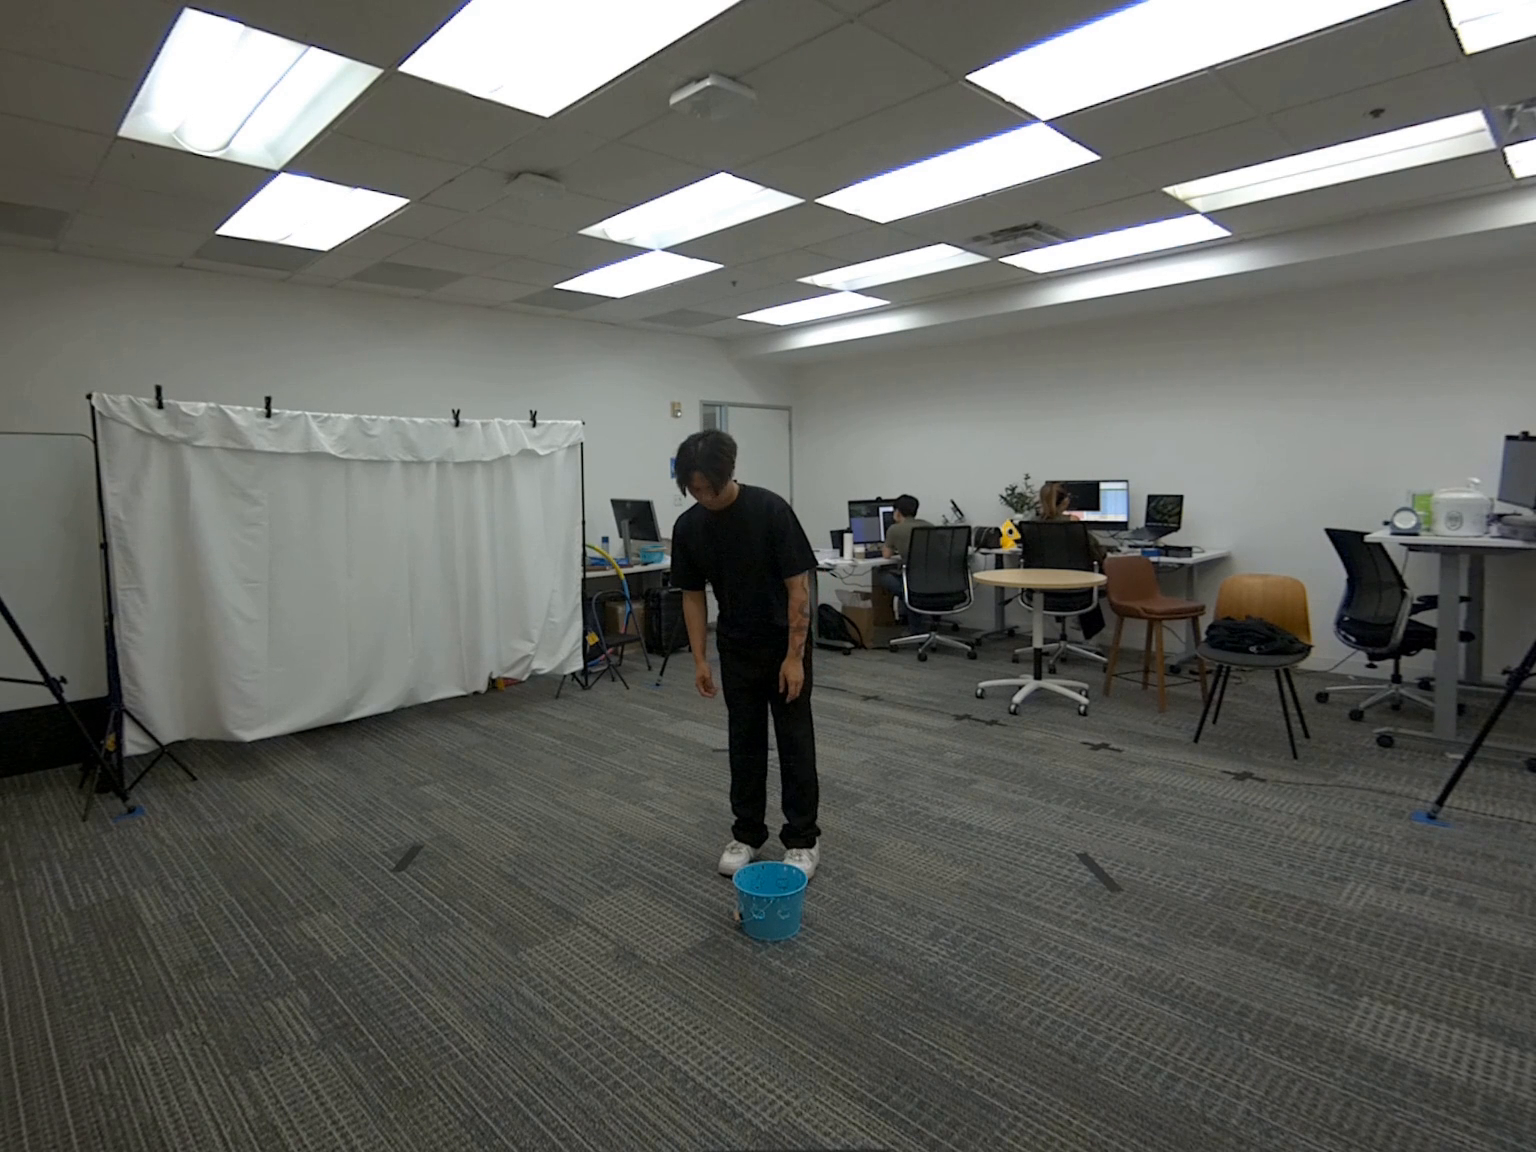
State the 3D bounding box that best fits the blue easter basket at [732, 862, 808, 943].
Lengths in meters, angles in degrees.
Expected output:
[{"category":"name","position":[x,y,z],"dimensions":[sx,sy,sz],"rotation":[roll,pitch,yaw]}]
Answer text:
[{"category":"blue easter basket","position":[0.010,1.024,2.666],"dimensions":[0.243,0.155,0.245],"rotation":[-1,5,-2]}]
